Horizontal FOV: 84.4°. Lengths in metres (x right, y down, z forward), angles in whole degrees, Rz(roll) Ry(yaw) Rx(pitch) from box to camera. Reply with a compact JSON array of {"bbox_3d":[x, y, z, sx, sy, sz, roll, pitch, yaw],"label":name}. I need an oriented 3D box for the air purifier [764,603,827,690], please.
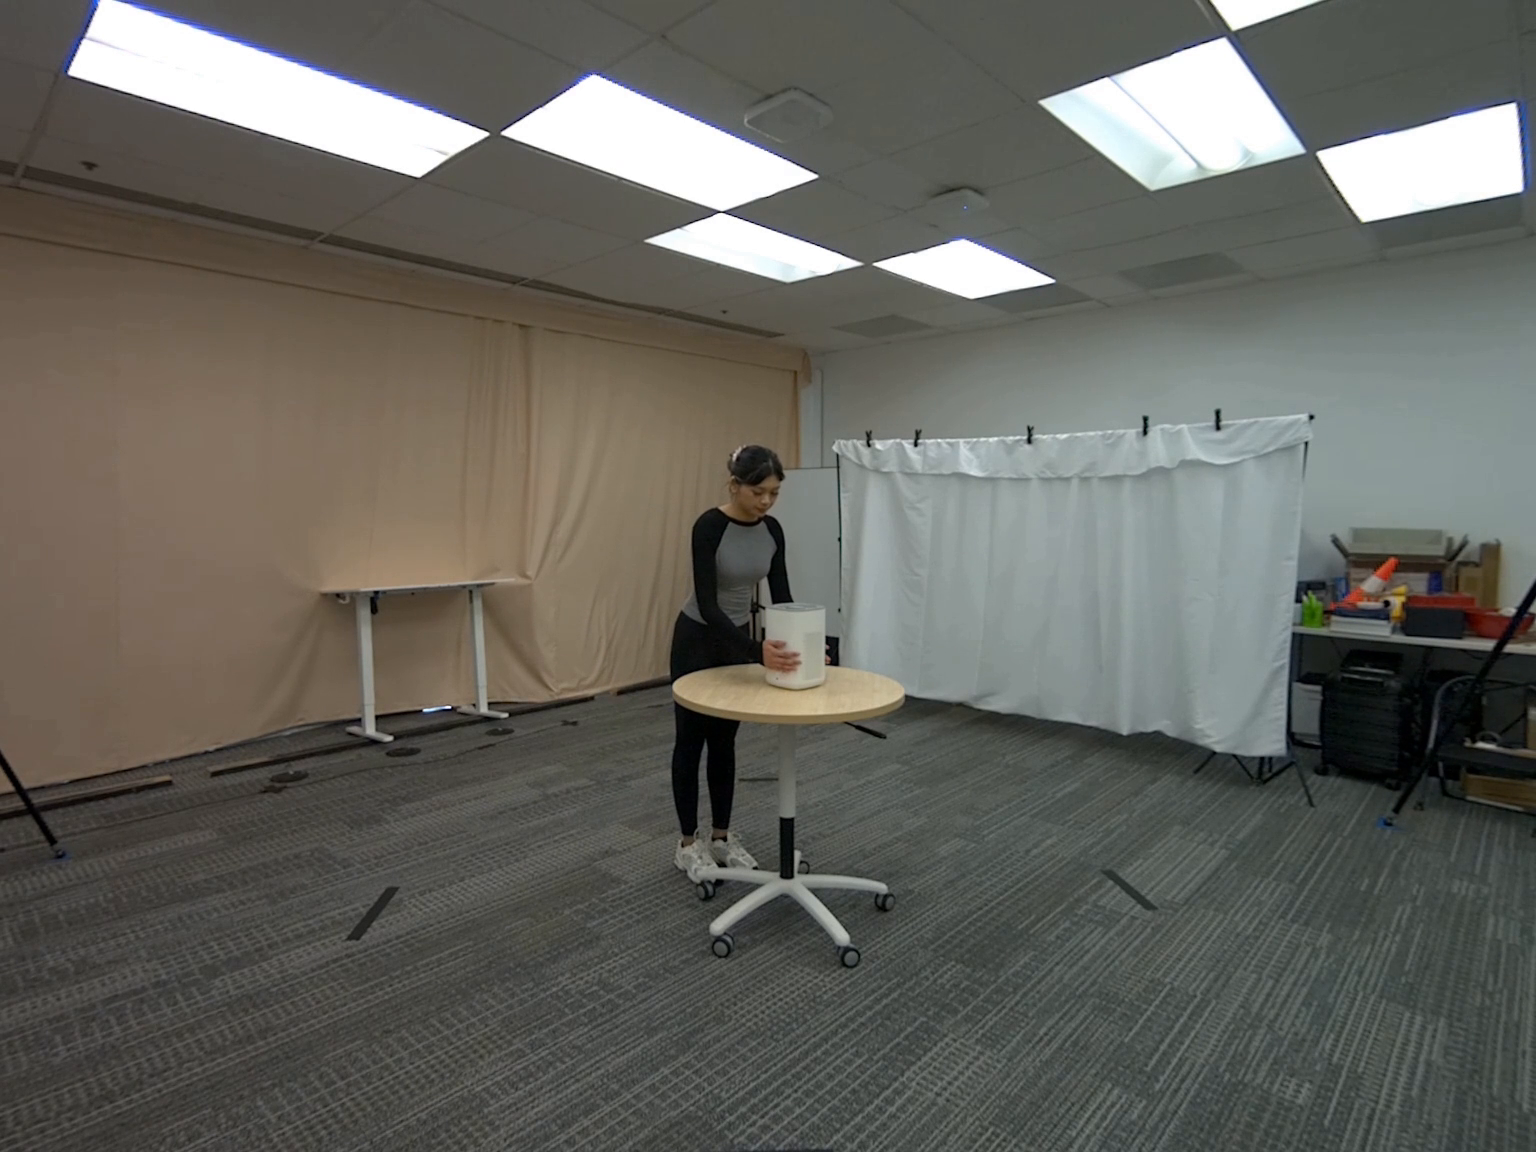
[{"bbox_3d":[0.090,0.234,2.804,0.166,0.264,0.177,-5,6,-45],"label":"air purifier"}]
